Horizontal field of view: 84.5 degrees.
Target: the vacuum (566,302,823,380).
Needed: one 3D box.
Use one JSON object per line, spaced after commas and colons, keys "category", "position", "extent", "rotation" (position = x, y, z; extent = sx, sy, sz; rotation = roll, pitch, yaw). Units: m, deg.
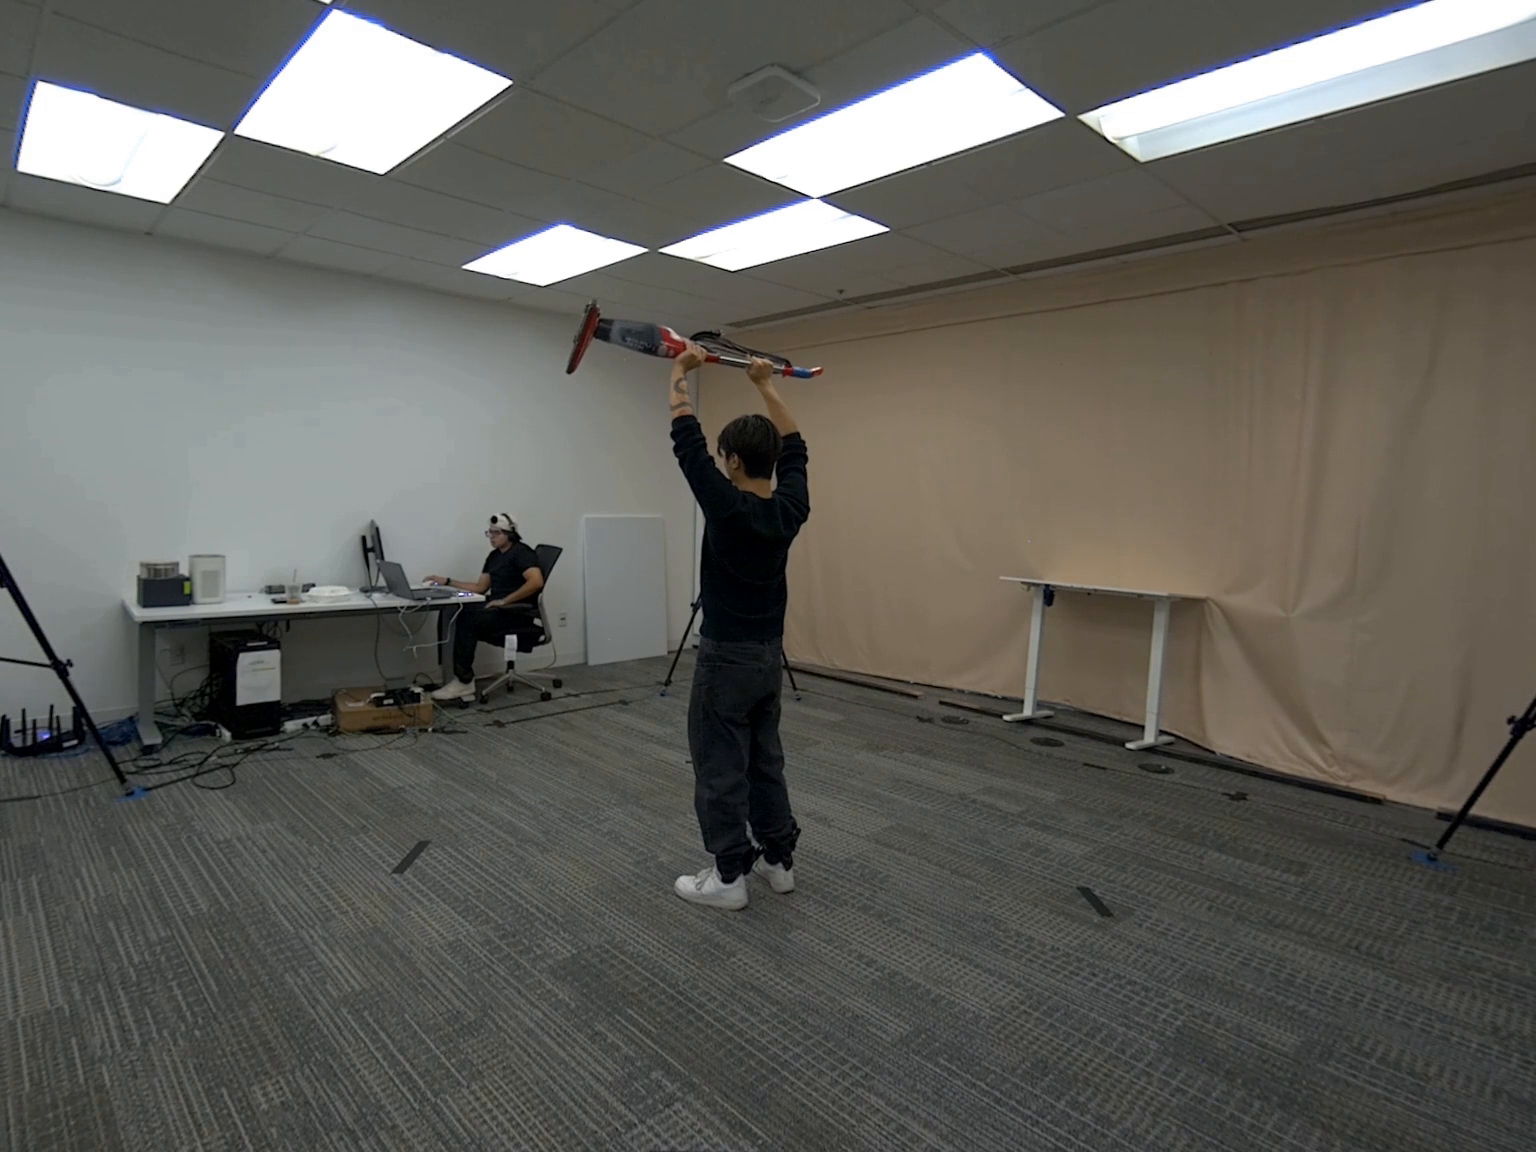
{"category": "vacuum", "position": [-0.203, -0.794, 2.978], "extent": [1.026, 0.251, 0.148], "rotation": [-3, 47, -39]}
